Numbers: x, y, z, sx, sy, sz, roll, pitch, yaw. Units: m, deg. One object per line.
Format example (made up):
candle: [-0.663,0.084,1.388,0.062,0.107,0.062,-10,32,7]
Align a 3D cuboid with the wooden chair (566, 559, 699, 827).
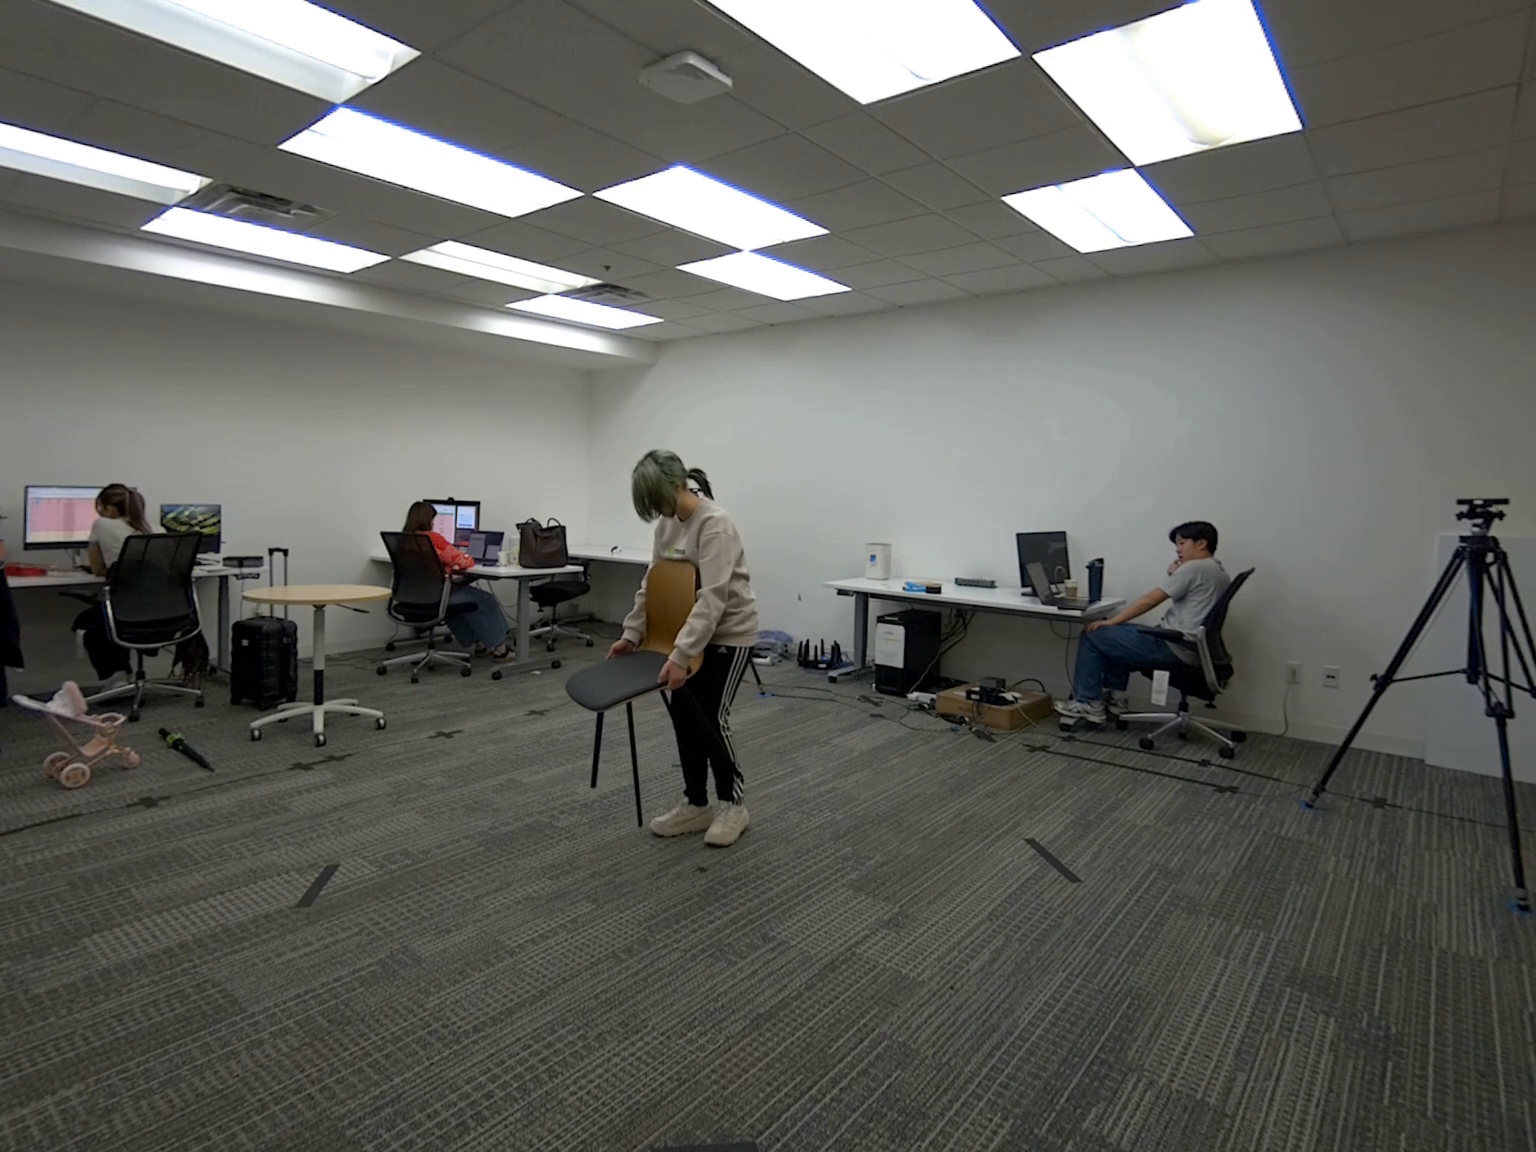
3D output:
wooden chair: [-0.506,0.422,3.291,0.512,0.868,0.494,-14,13,-33]
